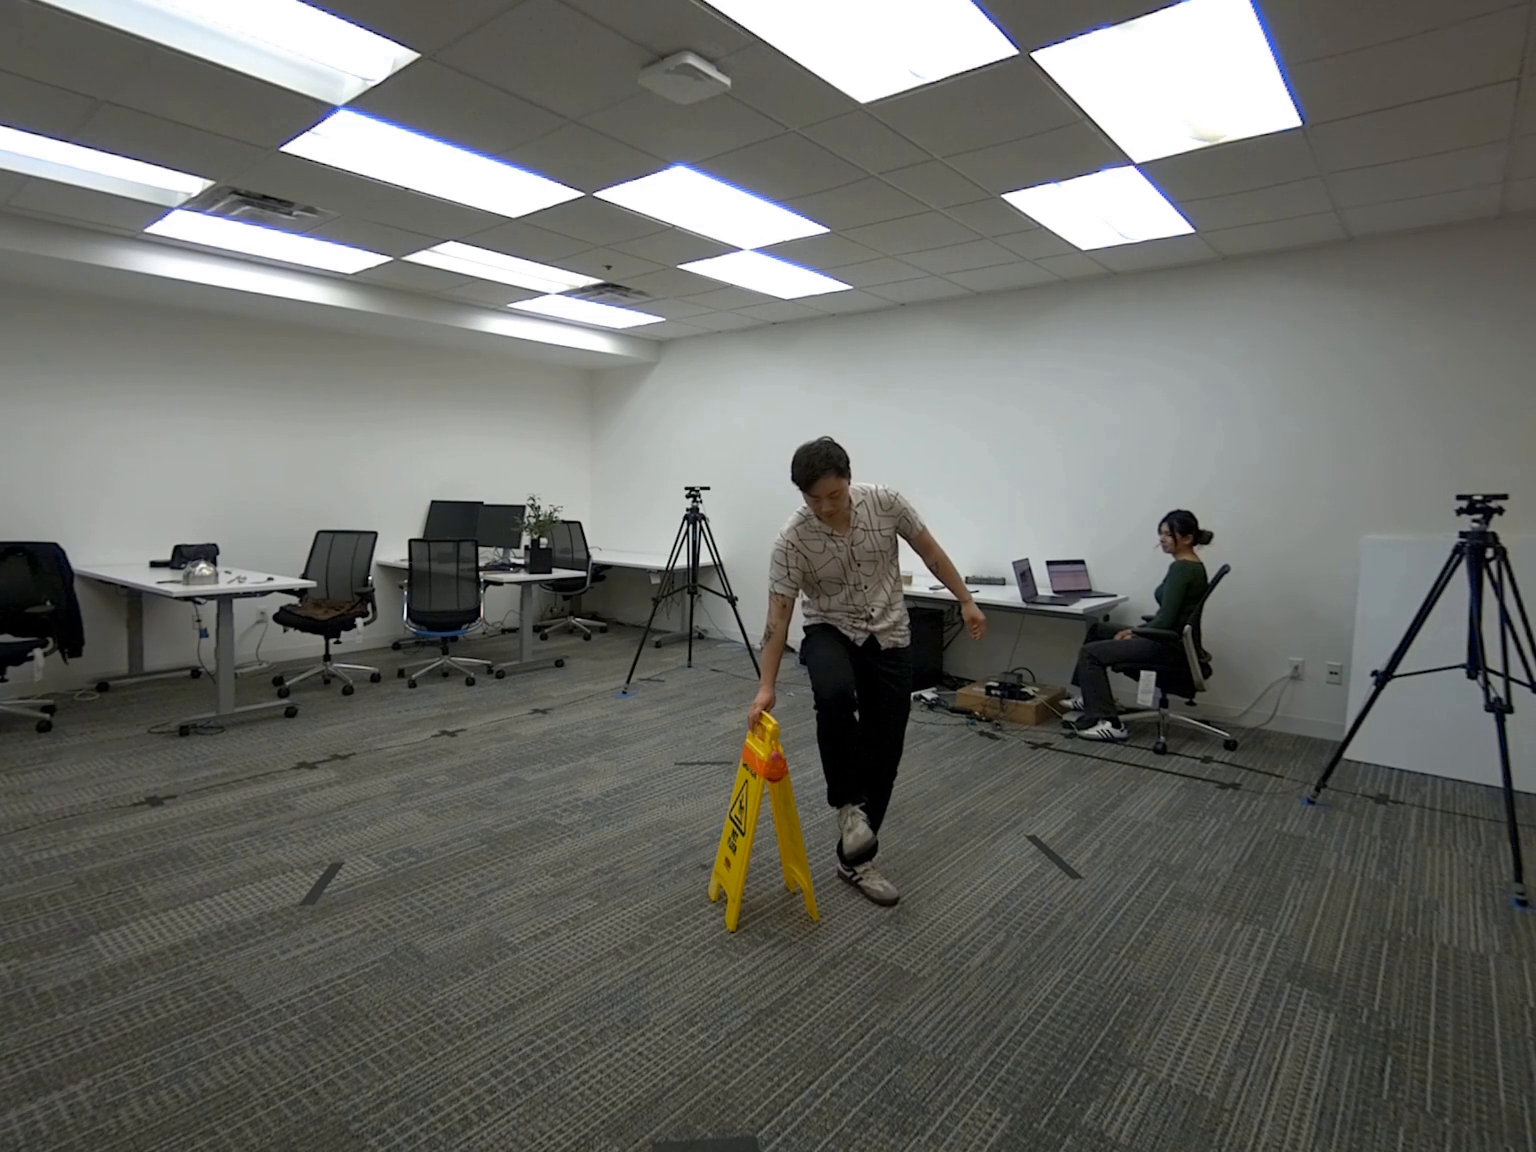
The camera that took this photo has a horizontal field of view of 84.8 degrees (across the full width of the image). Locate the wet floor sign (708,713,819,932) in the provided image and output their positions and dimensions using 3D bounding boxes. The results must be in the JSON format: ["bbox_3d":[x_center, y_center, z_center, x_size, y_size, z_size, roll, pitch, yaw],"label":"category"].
[{"bbox_3d":[-0.022,0.772,2.811,0.285,0.644,0.288,0,4,-17],"label":"wet floor sign"}]
